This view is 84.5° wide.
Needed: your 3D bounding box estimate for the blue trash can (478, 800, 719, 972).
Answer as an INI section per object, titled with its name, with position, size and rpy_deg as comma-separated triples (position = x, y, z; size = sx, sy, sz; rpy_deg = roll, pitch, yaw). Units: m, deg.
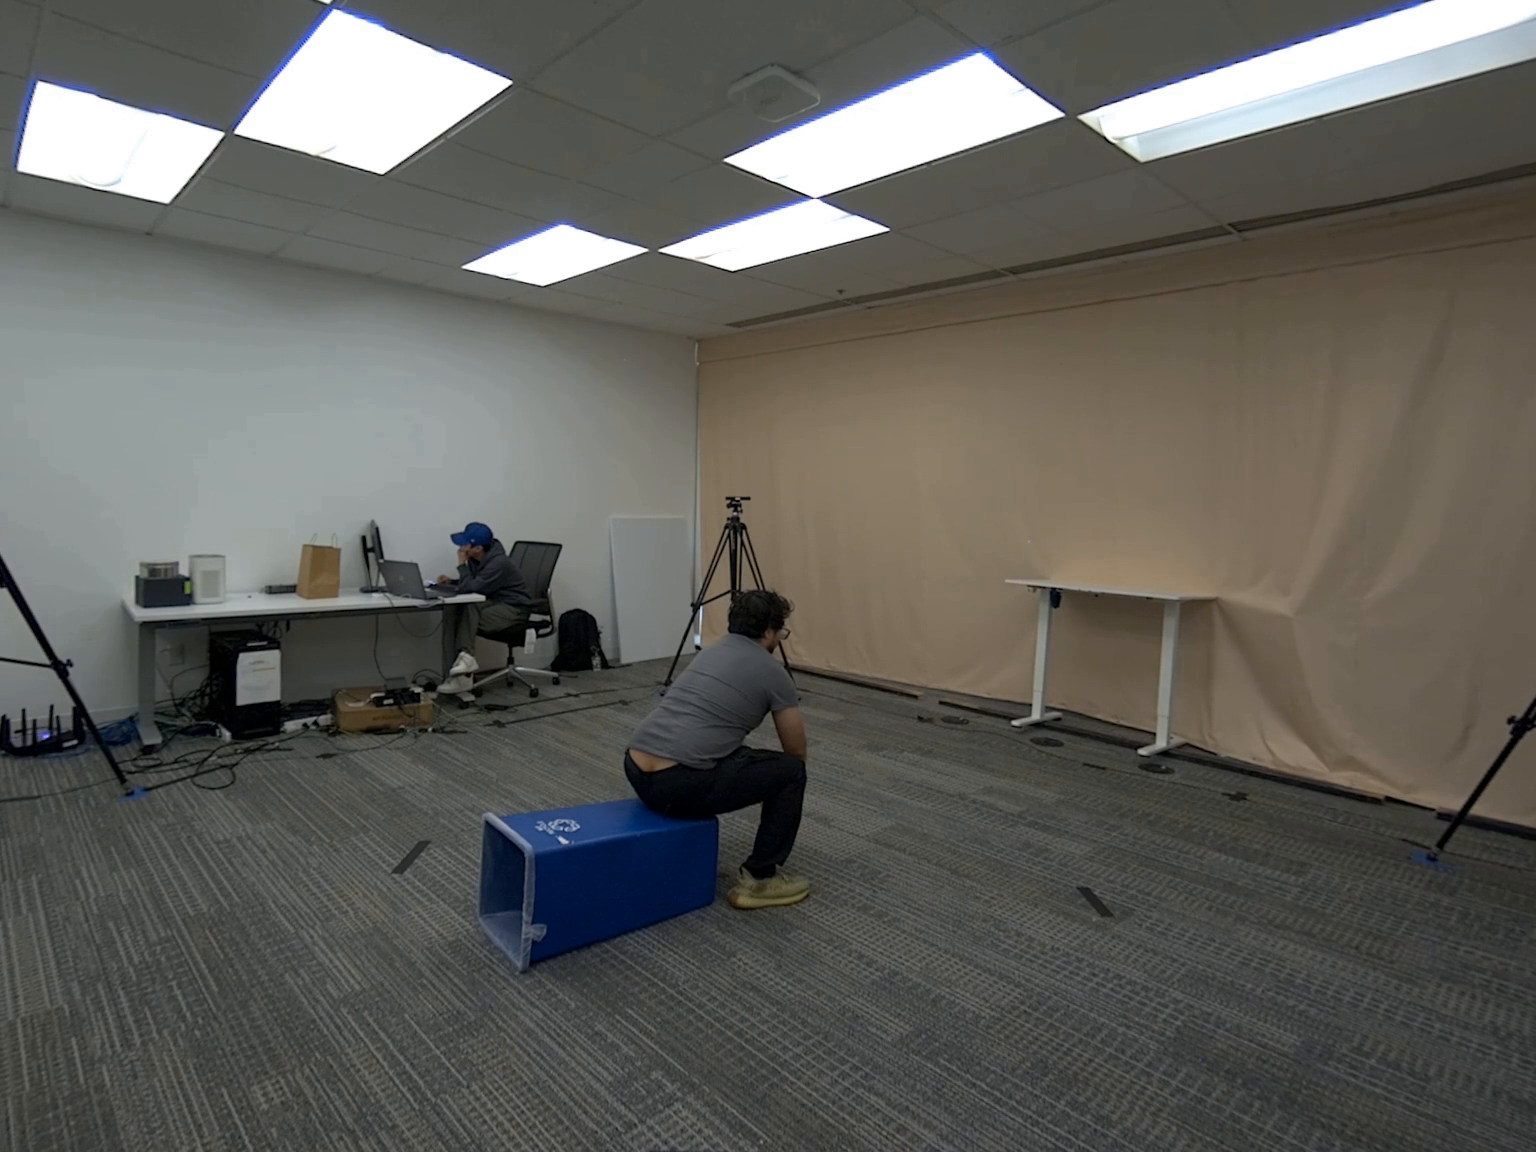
[blue trash can]
position = -0.554, 0.952, 2.778
size = 0.697, 0.373, 0.387
rpy_deg = 0, 4, -38
